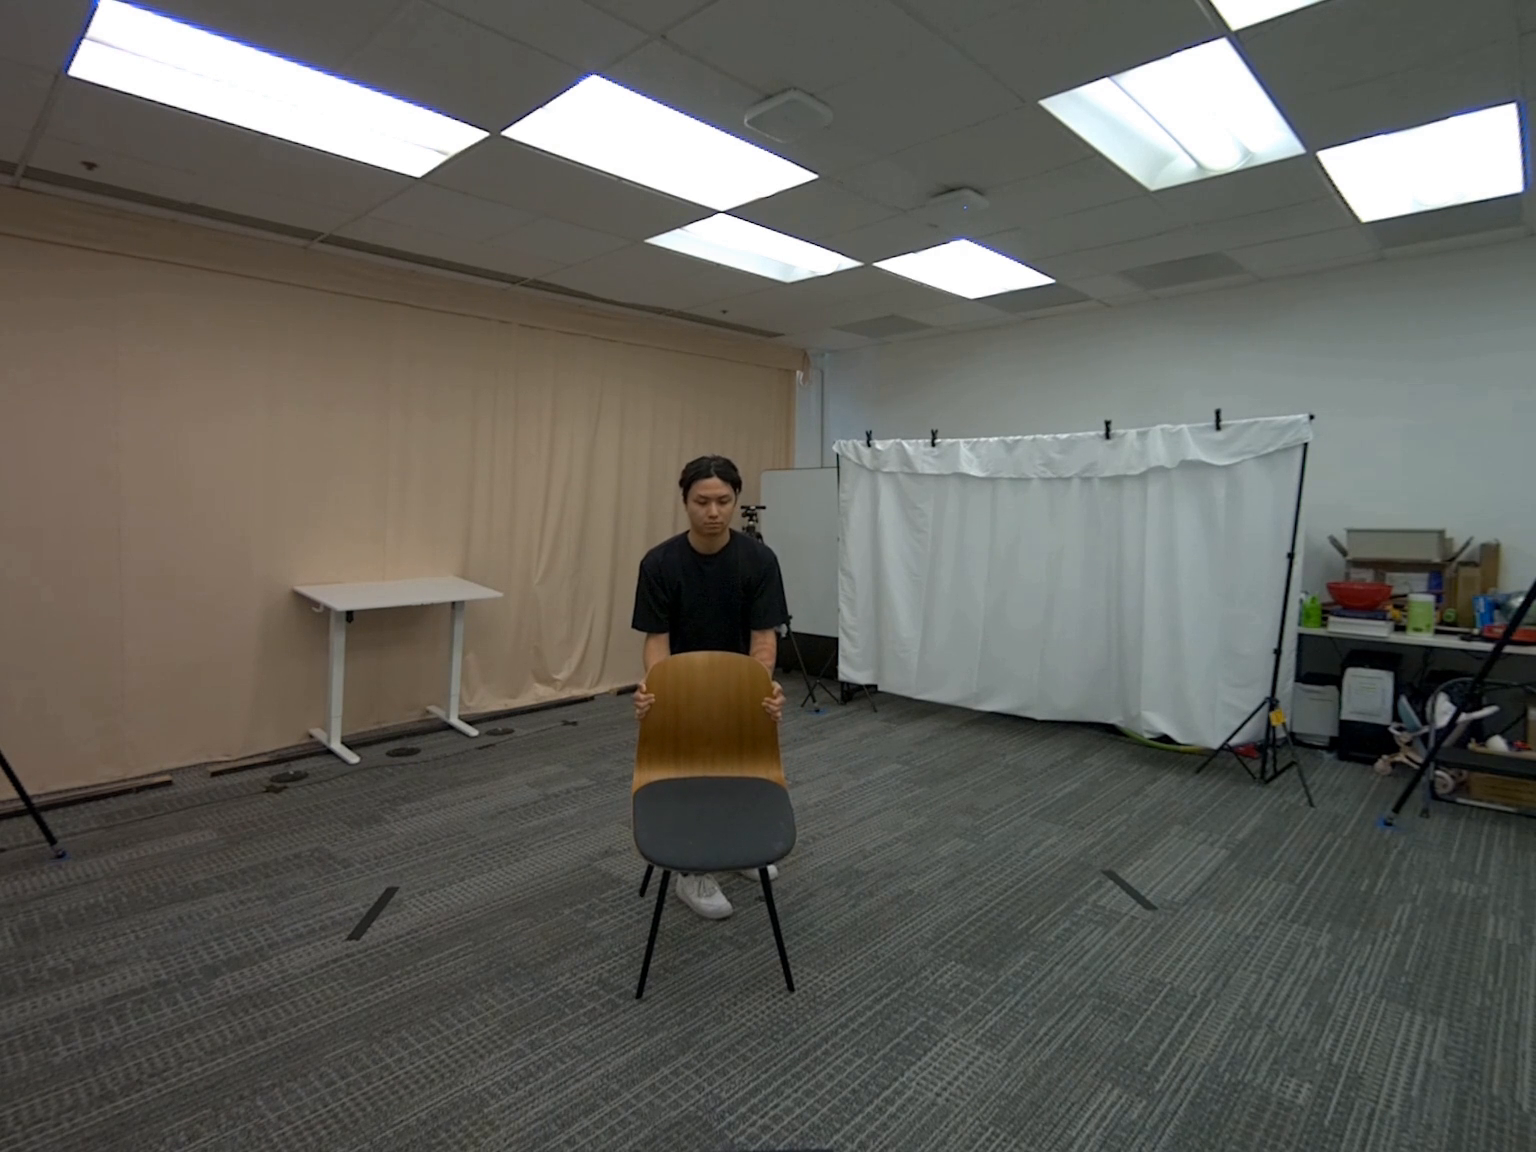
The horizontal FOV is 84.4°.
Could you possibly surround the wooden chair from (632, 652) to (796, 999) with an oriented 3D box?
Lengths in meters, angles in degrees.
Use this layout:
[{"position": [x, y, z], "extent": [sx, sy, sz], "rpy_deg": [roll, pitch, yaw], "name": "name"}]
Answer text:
[{"position": [-0.160, 0.721, 2.489], "extent": [0.476, 0.872, 0.529], "rpy_deg": [0, 11, -6], "name": "wooden chair"}]
